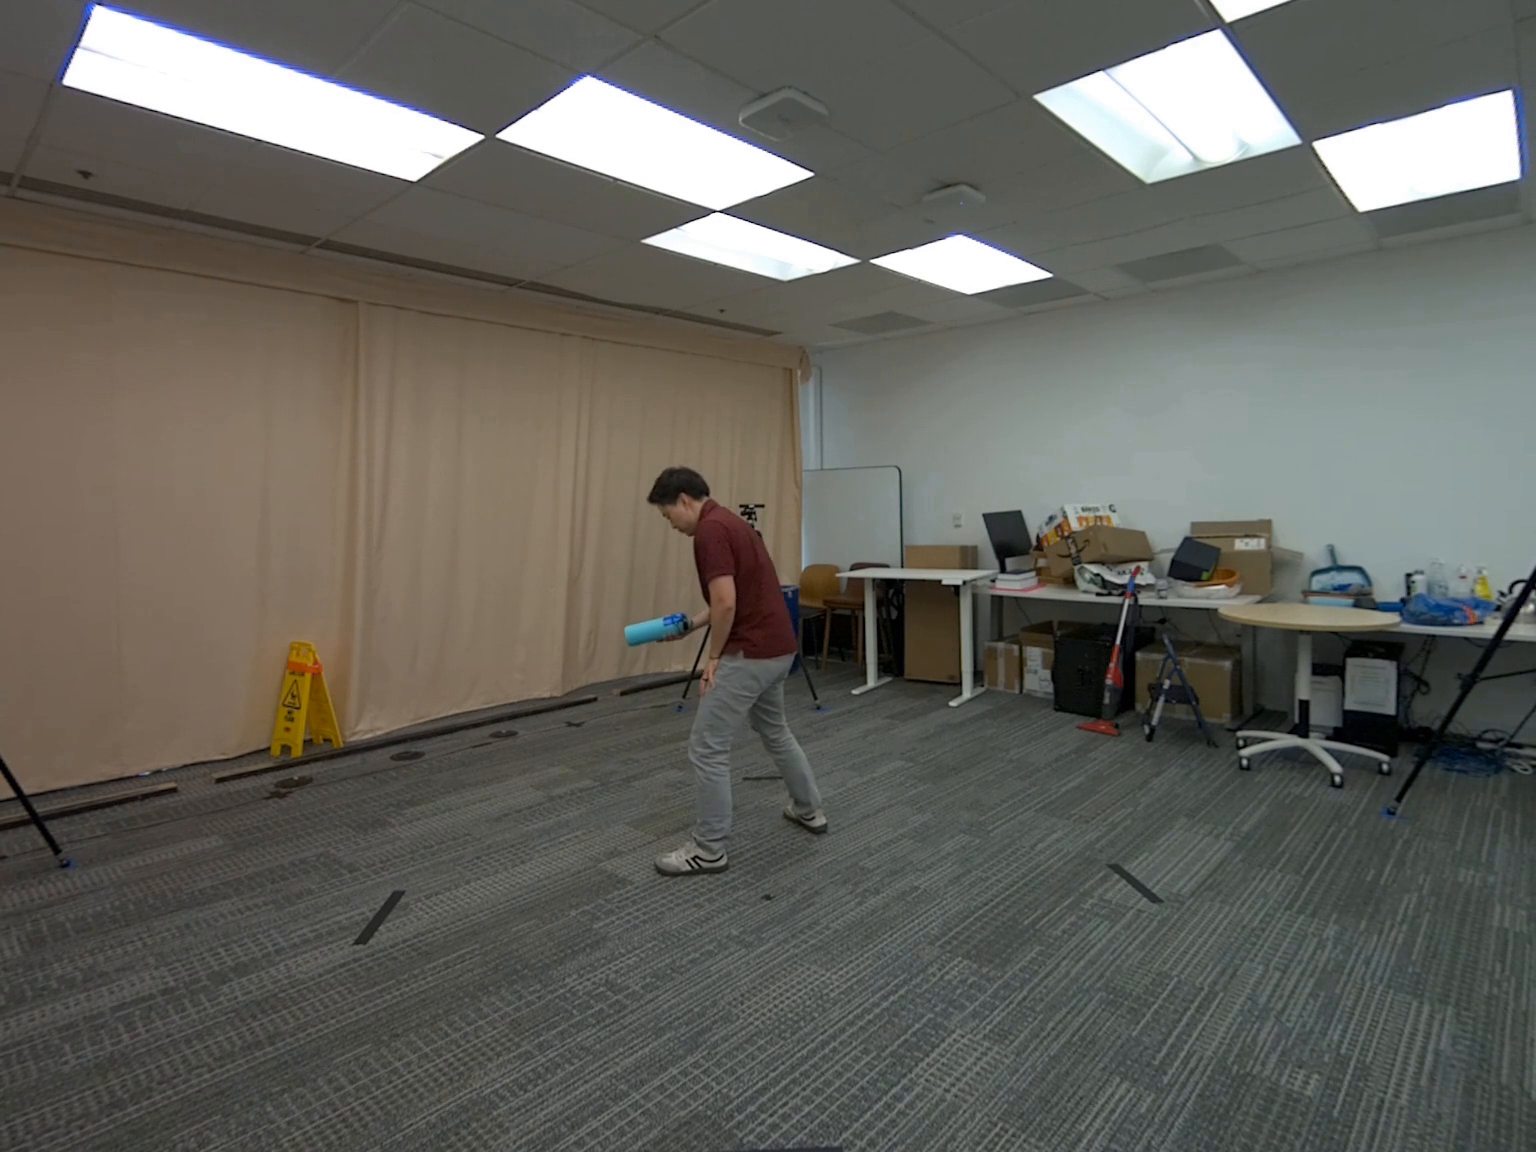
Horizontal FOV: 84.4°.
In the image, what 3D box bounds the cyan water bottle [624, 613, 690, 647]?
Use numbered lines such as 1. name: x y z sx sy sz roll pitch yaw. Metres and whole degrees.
1. cyan water bottle: -0.456 0.228 3.552 0.286 0.092 0.091 -14 1 11
